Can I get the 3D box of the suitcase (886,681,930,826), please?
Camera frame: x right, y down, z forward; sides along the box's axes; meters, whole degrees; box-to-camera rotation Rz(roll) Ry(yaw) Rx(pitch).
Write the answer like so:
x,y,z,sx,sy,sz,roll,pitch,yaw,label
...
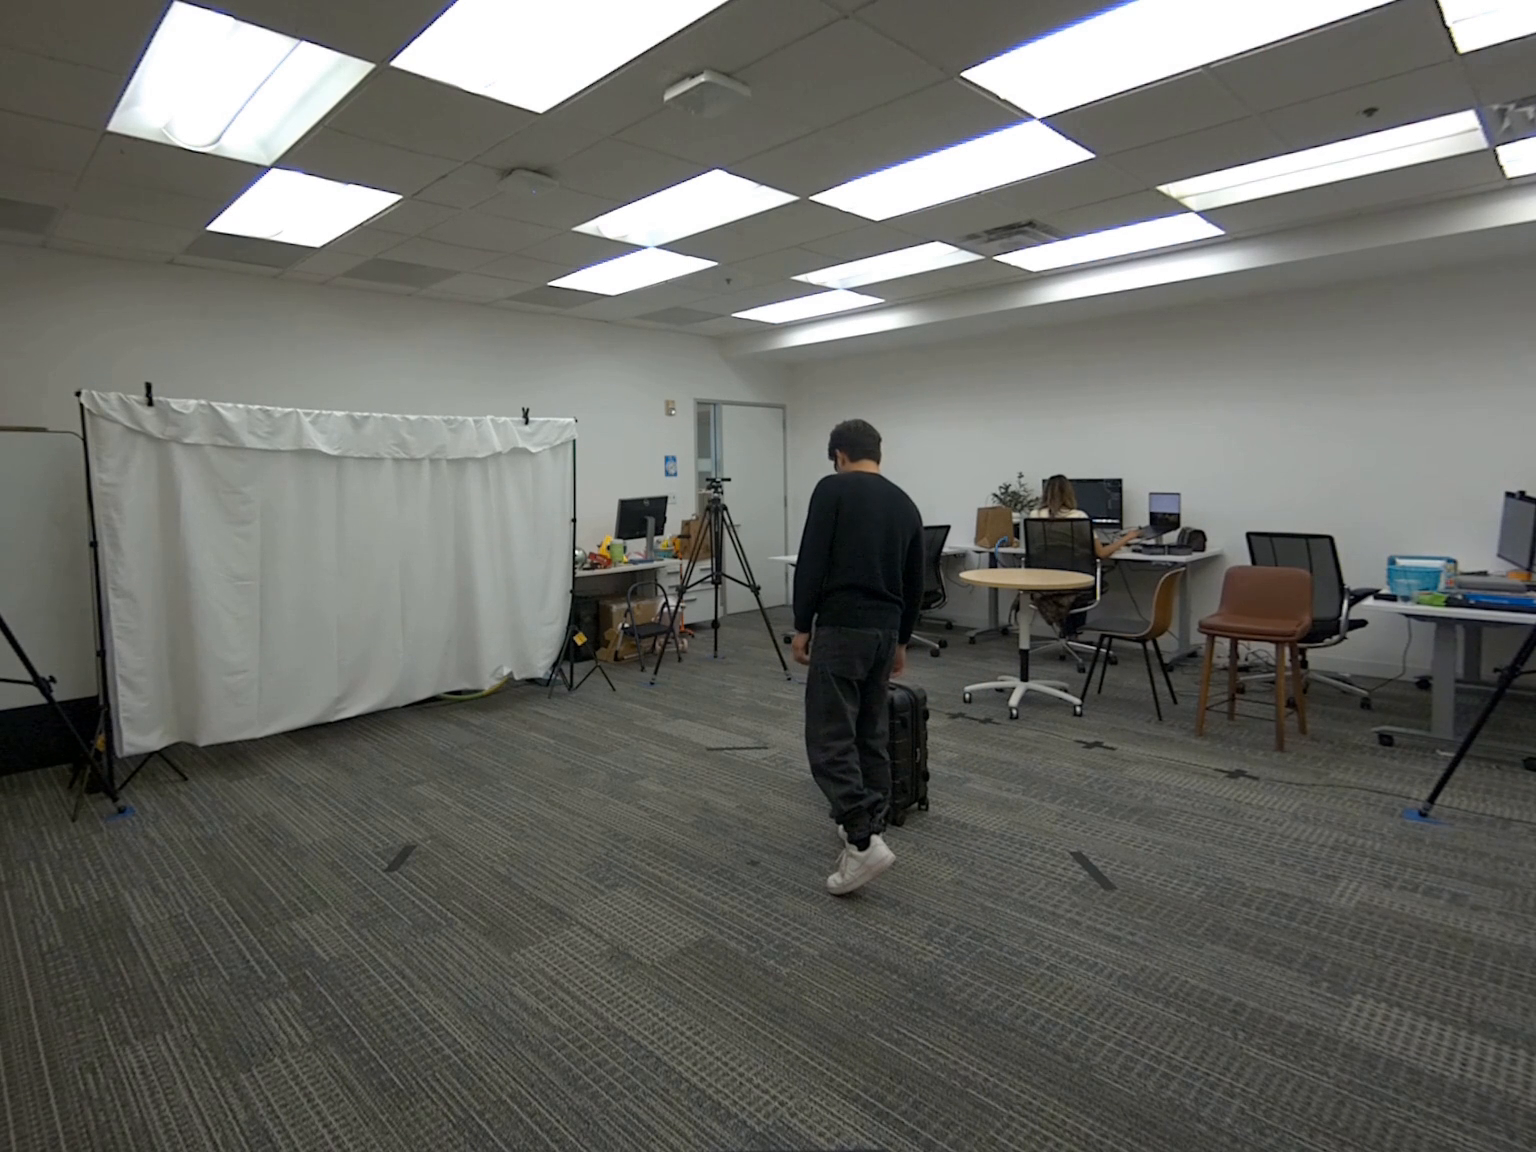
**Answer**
x,y,z,sx,sy,sz,roll,pitch,yaw,label
0.473,0.706,3.578,0.387,0.547,0.242,3,6,44,suitcase
